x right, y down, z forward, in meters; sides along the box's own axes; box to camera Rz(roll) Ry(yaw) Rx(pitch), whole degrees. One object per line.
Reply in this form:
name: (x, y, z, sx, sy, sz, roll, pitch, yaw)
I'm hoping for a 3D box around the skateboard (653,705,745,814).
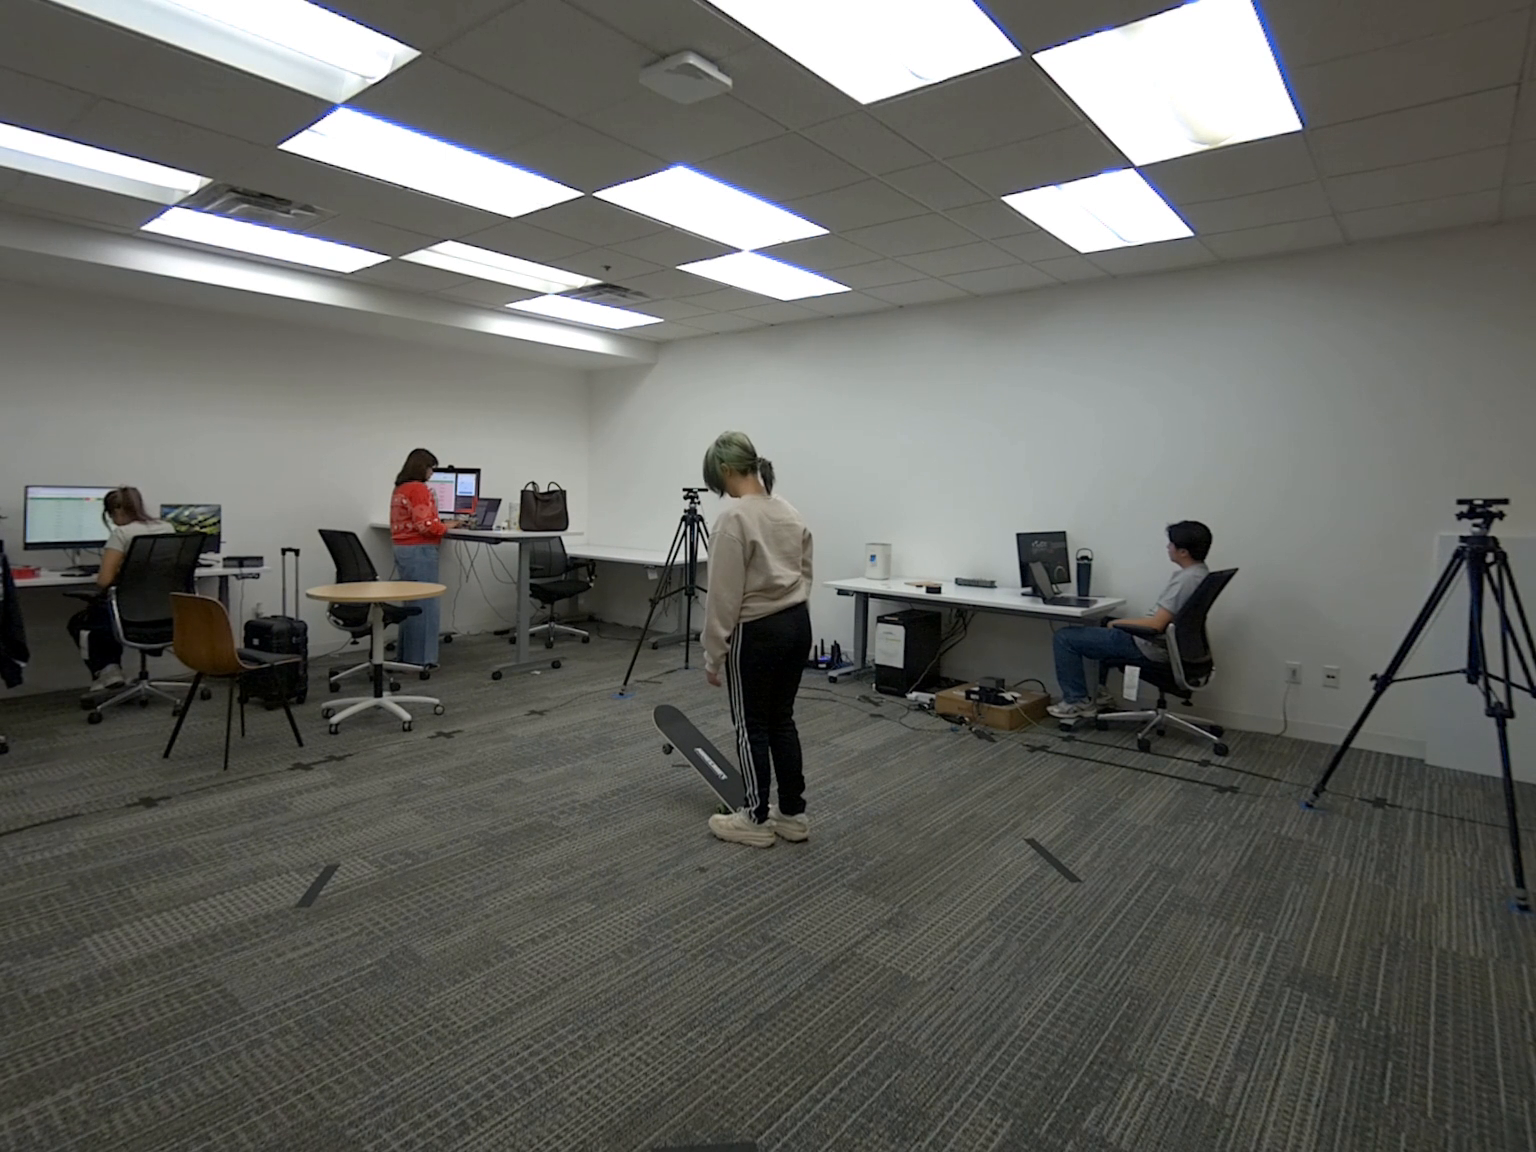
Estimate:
skateboard: (-0.278, 0.859, 3.796, 0.188, 0.109, 0.818, -4, 34, -45)
